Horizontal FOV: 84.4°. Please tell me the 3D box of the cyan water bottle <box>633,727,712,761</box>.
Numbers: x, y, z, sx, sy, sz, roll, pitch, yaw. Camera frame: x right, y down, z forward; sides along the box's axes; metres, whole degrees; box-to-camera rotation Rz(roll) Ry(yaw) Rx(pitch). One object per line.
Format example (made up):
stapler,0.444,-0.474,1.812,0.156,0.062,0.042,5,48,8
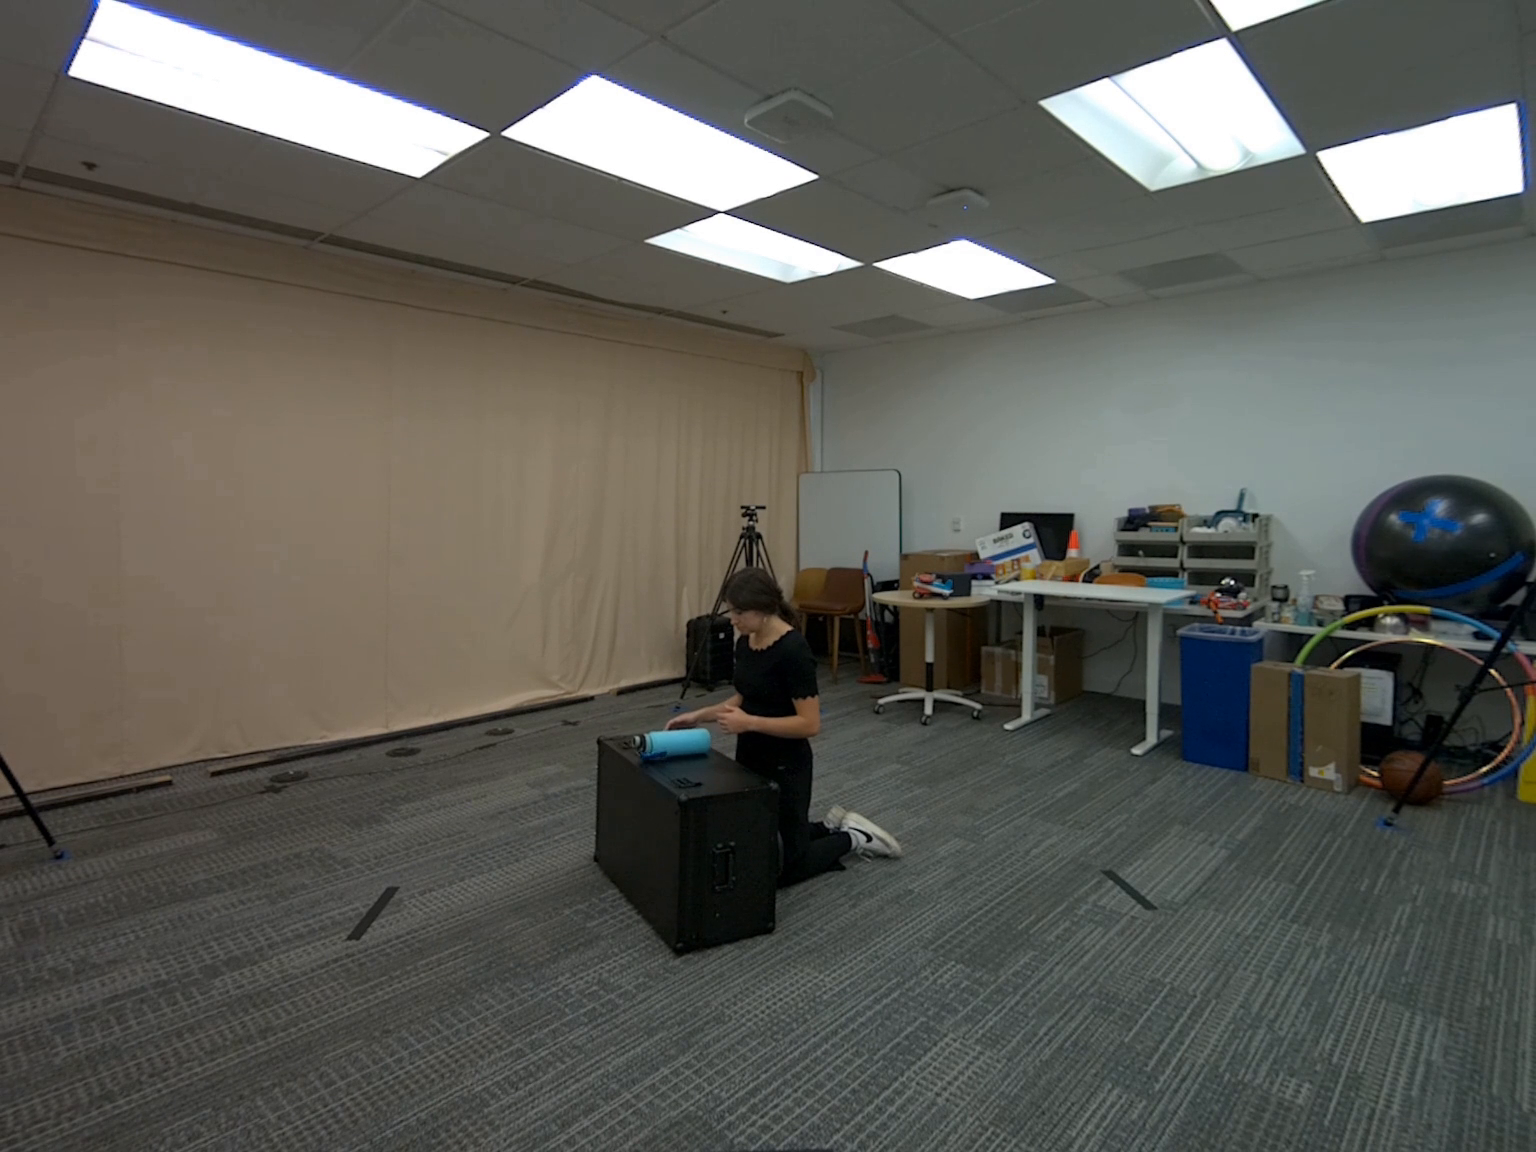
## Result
cyan water bottle,-0.350,0.606,3.034,0.276,0.092,0.095,2,2,-25
